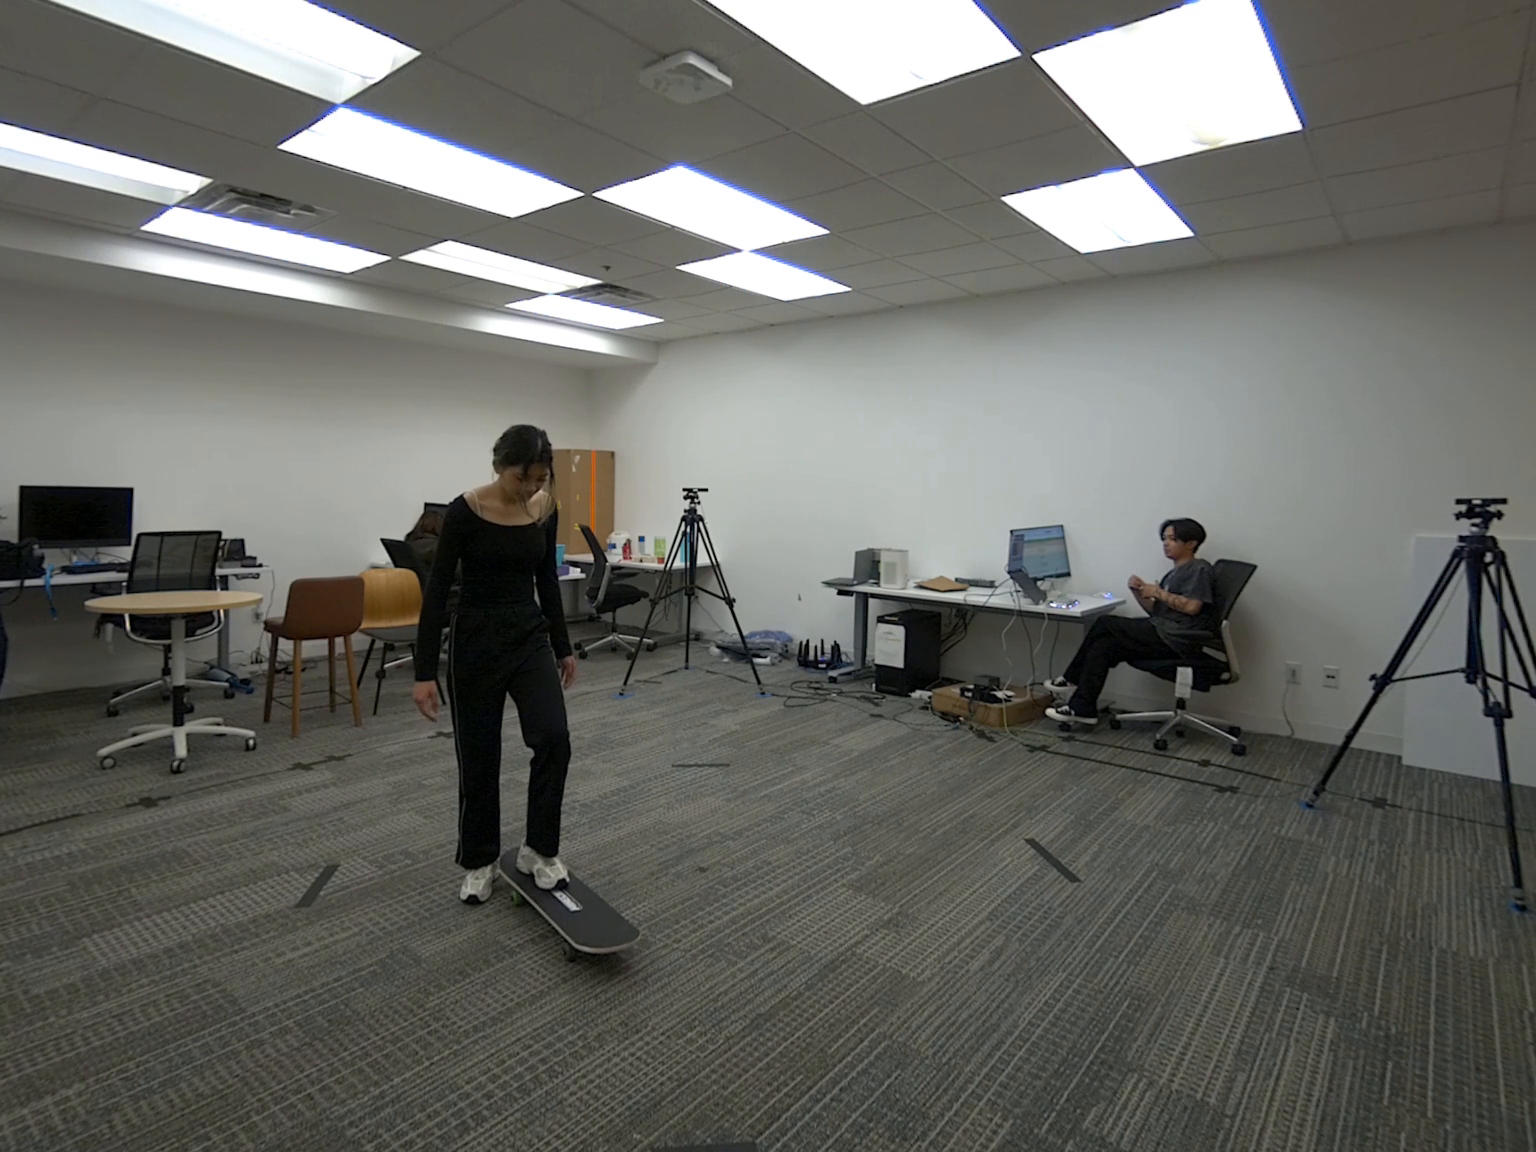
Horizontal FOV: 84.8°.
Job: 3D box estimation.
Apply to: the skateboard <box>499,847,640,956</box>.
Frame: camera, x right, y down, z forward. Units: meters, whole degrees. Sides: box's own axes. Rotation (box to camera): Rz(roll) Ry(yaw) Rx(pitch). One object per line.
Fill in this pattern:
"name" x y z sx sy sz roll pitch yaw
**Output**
"skateboard" -0.659 1.048 2.692 0.188 0.110 0.812 -4 7 -37
